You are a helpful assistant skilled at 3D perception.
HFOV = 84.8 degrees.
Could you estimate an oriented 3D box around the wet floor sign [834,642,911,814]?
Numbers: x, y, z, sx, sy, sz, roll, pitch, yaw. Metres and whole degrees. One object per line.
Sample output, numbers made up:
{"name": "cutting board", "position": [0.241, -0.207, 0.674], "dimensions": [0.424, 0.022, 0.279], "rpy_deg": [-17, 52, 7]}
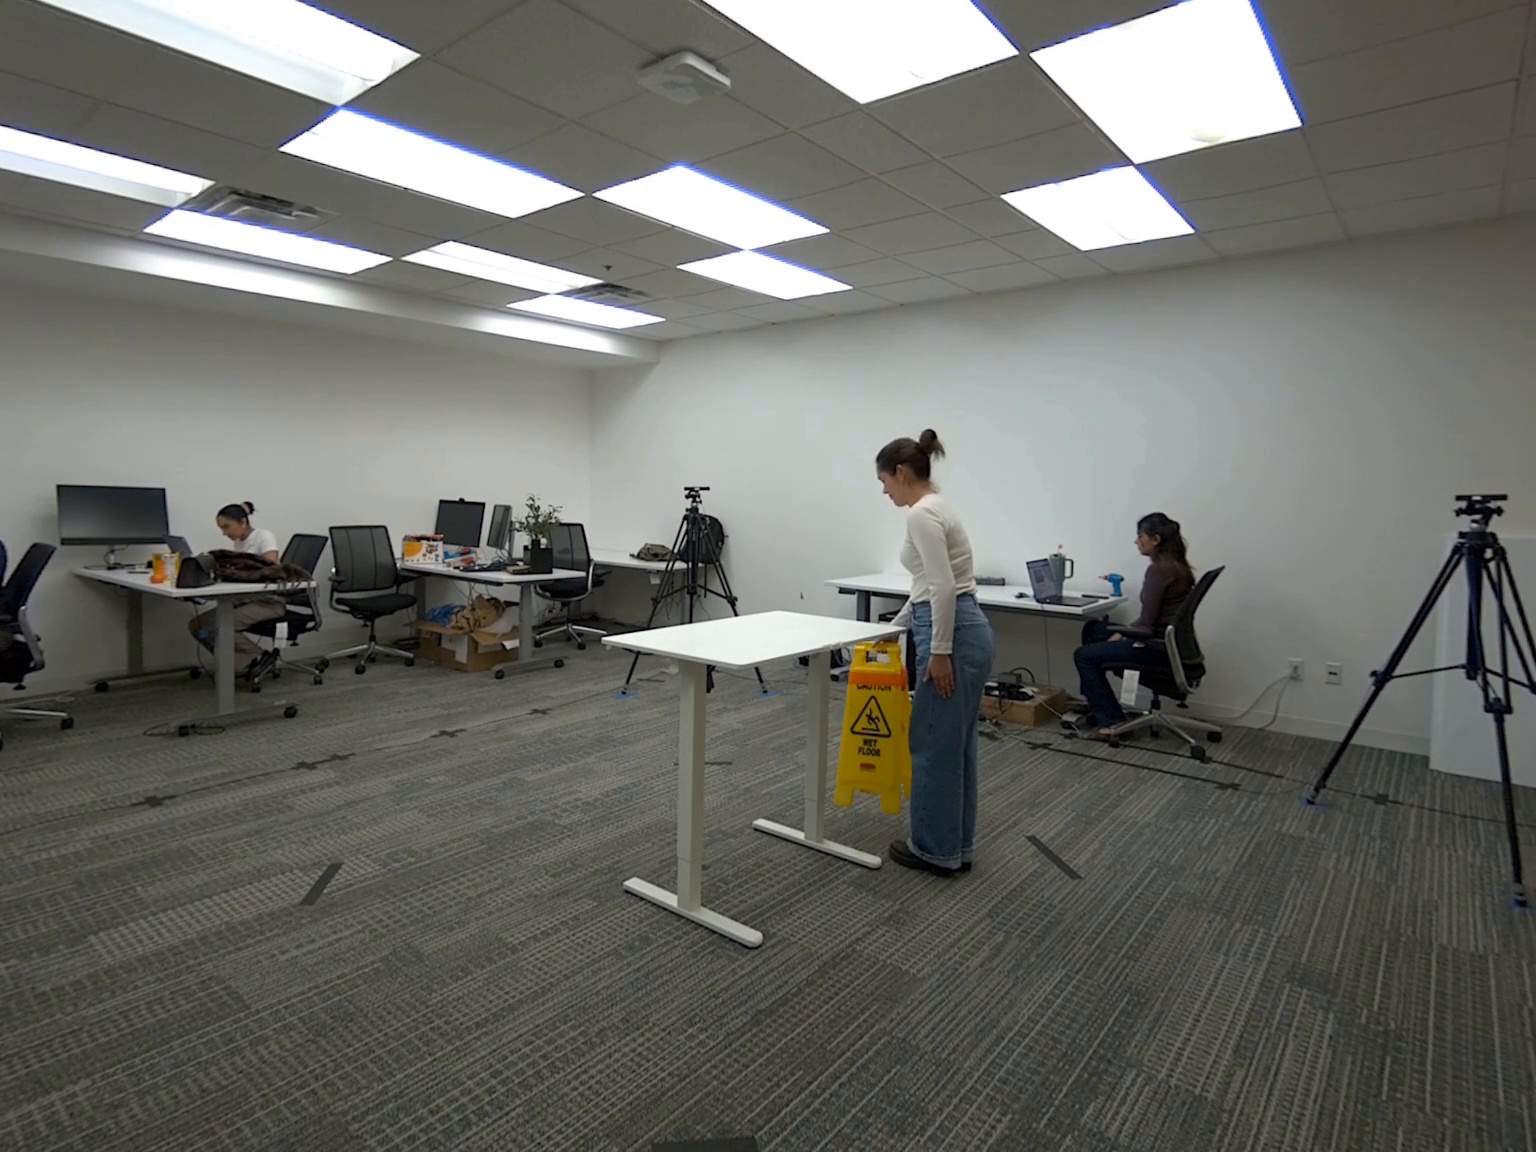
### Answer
{"name": "wet floor sign", "position": [0.447, 0.598, 3.508], "dimensions": [0.290, 0.648, 0.281], "rpy_deg": [-2, -4, 32]}
